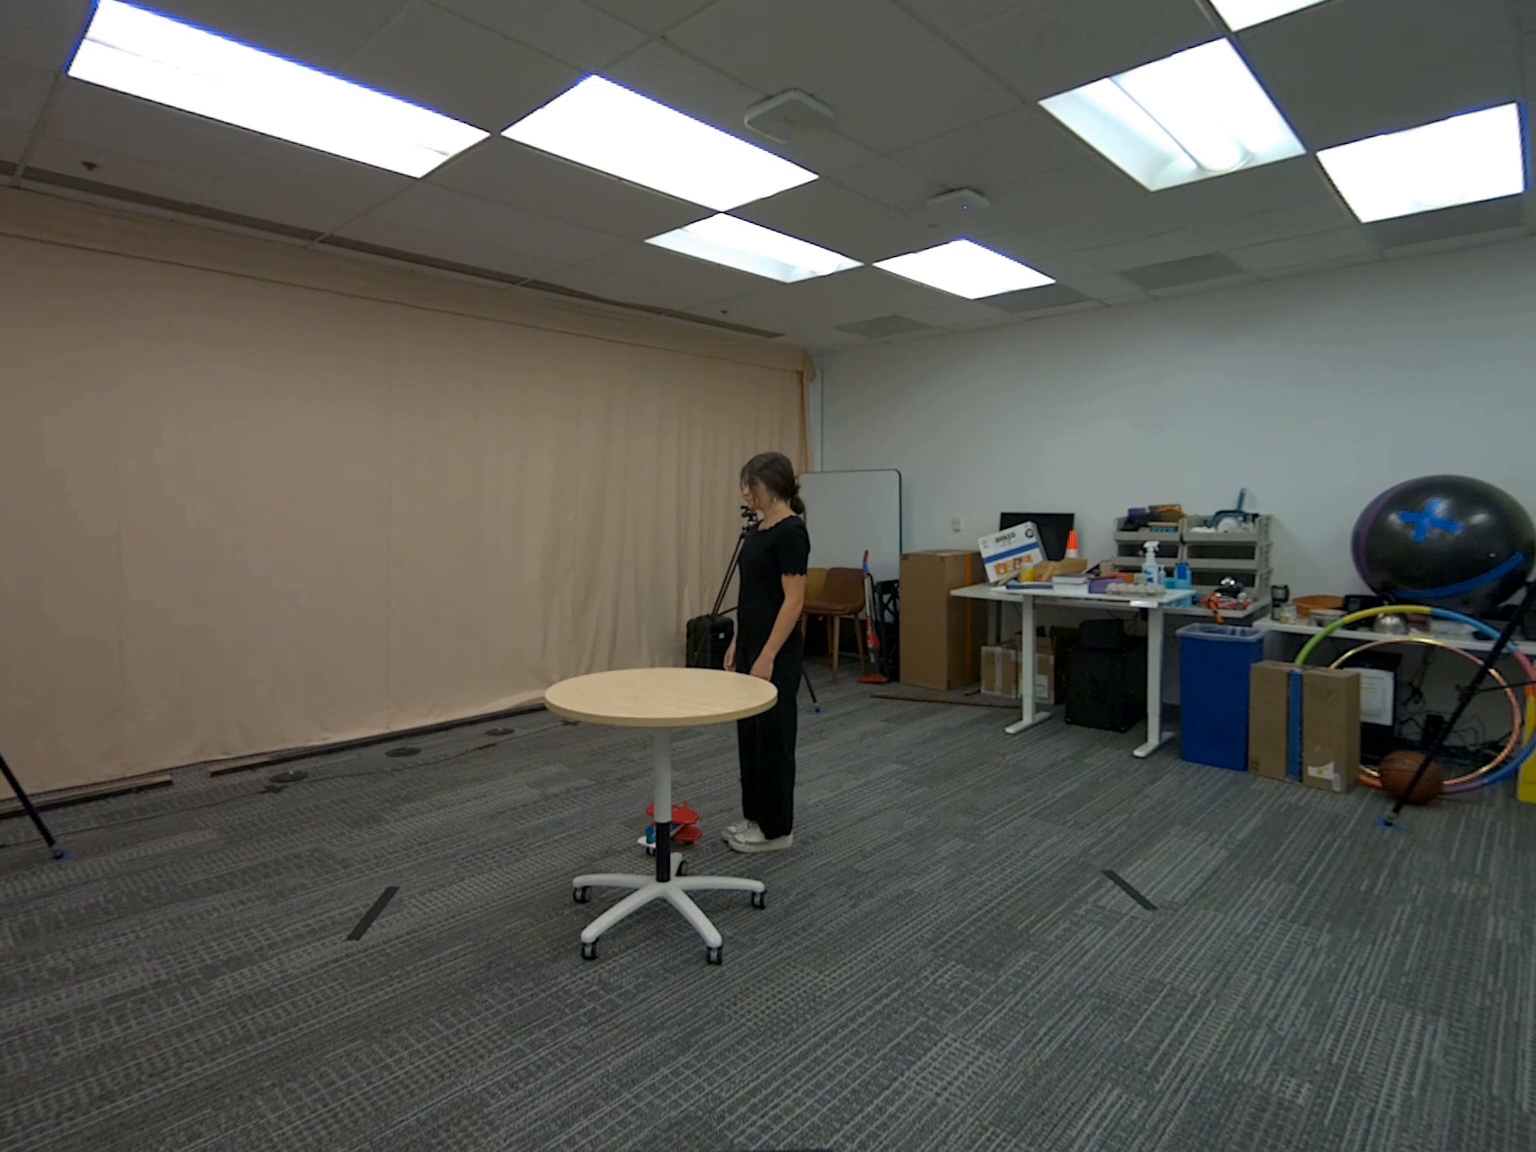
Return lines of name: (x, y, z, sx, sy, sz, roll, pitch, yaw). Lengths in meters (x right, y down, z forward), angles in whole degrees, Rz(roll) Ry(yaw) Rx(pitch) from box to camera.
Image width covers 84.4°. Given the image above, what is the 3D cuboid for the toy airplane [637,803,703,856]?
toy airplane: (-0.389, 1.048, 3.419, 0.253, 0.156, 0.257, -1, 3, 8)
